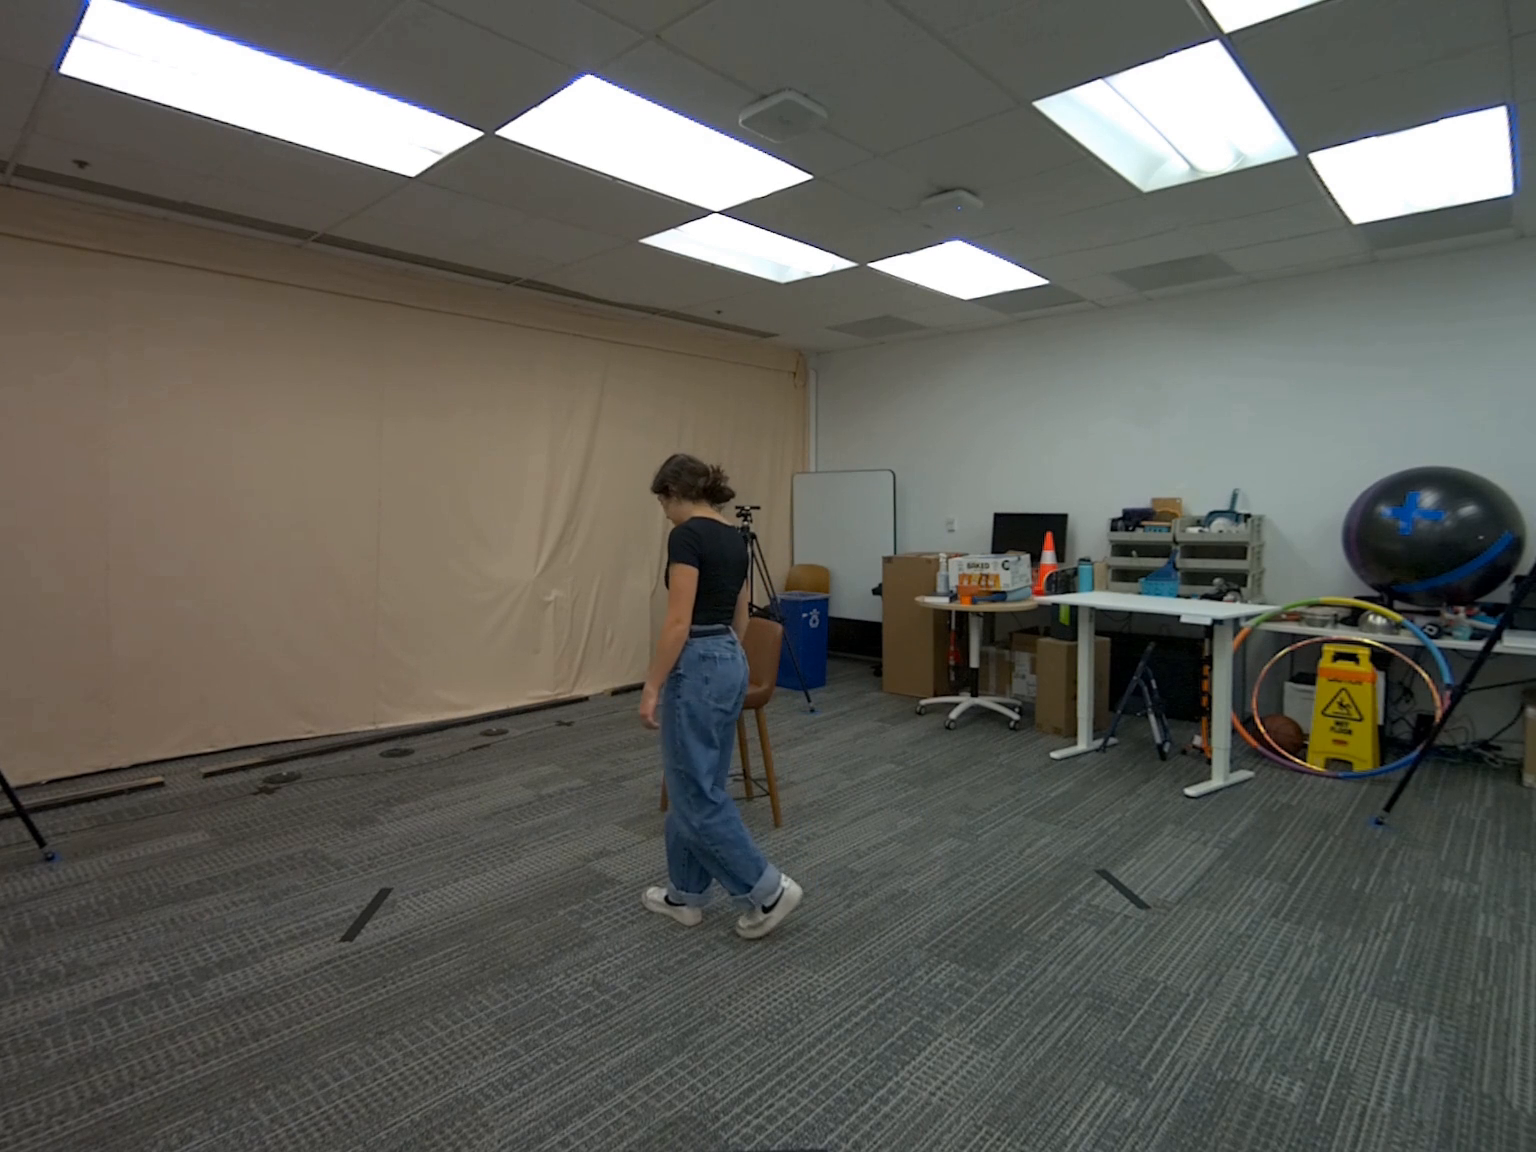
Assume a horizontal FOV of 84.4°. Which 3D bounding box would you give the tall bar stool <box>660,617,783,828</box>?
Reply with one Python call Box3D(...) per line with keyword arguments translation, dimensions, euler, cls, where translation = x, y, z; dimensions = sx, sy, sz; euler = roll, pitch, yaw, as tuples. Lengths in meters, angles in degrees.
Box3D(translation=(-0.210, 0.645, 3.740), dimensions=(0.458, 0.888, 0.467), euler=(1, 3, -21), cls="tall bar stool")
